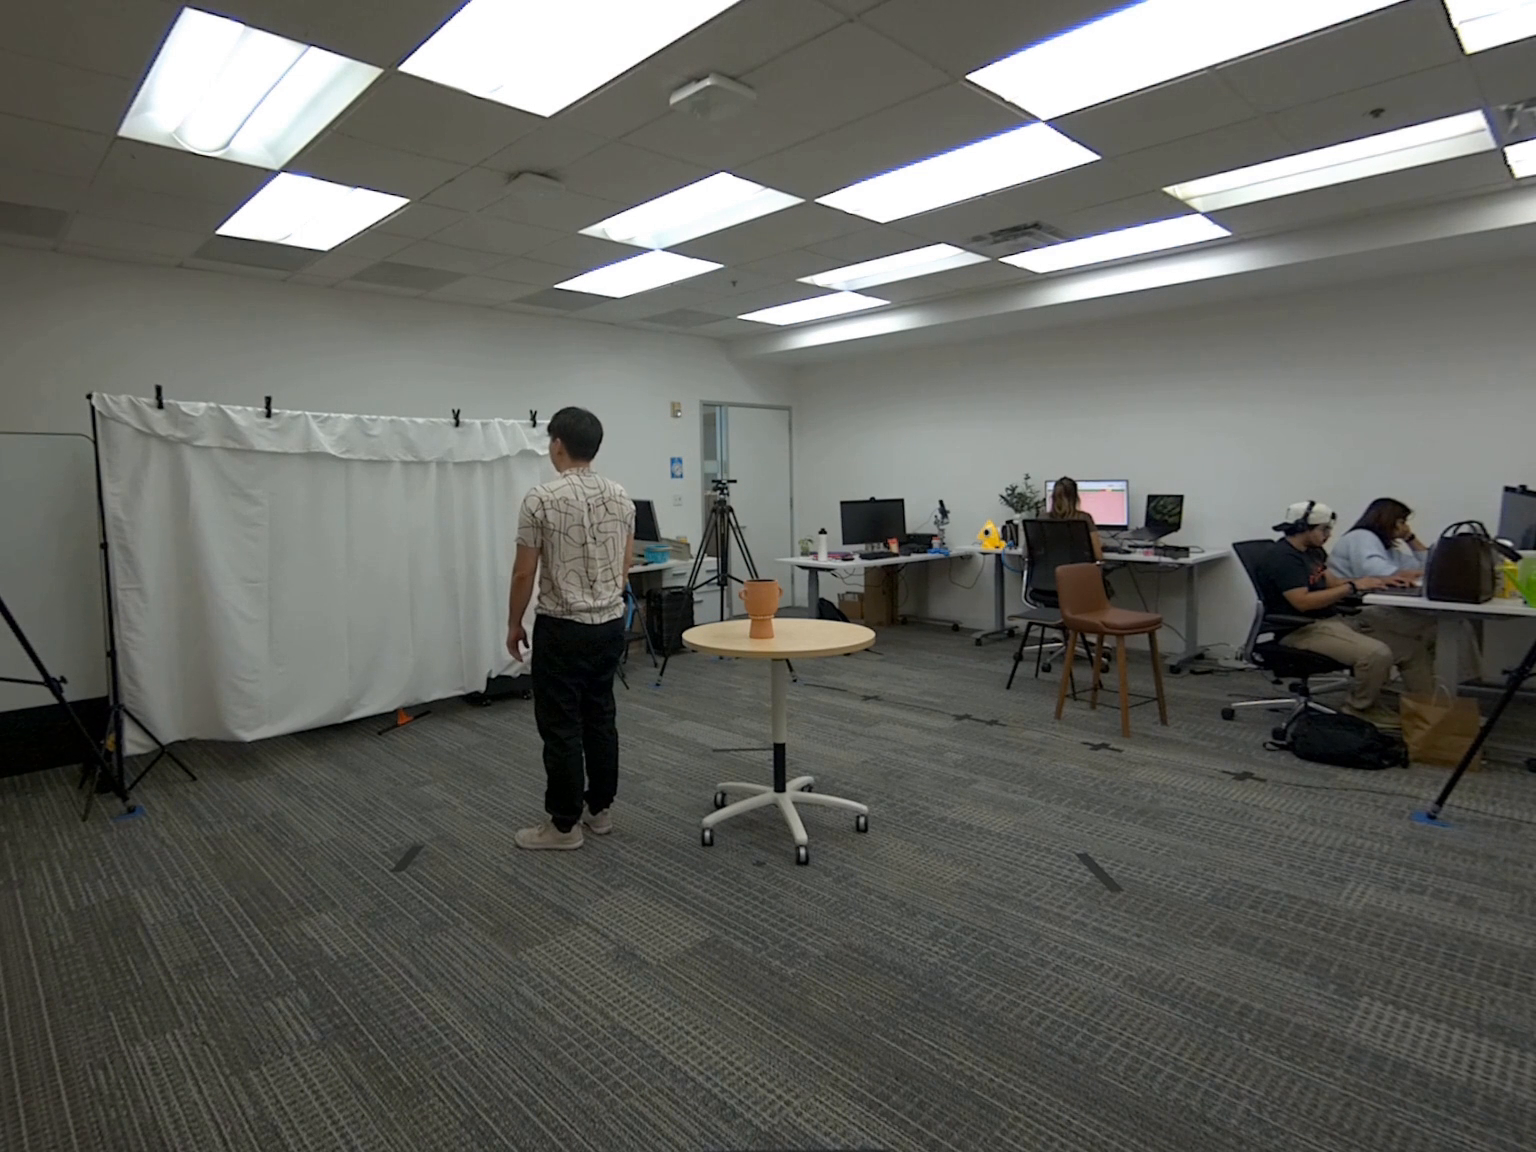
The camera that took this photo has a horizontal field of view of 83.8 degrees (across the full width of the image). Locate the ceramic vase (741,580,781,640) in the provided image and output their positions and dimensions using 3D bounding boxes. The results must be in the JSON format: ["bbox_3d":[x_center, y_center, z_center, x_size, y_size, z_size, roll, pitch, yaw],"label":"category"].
[{"bbox_3d":[-0.028,0.129,3.326,0.160,0.219,0.134,0,4,9],"label":"ceramic vase"}]
